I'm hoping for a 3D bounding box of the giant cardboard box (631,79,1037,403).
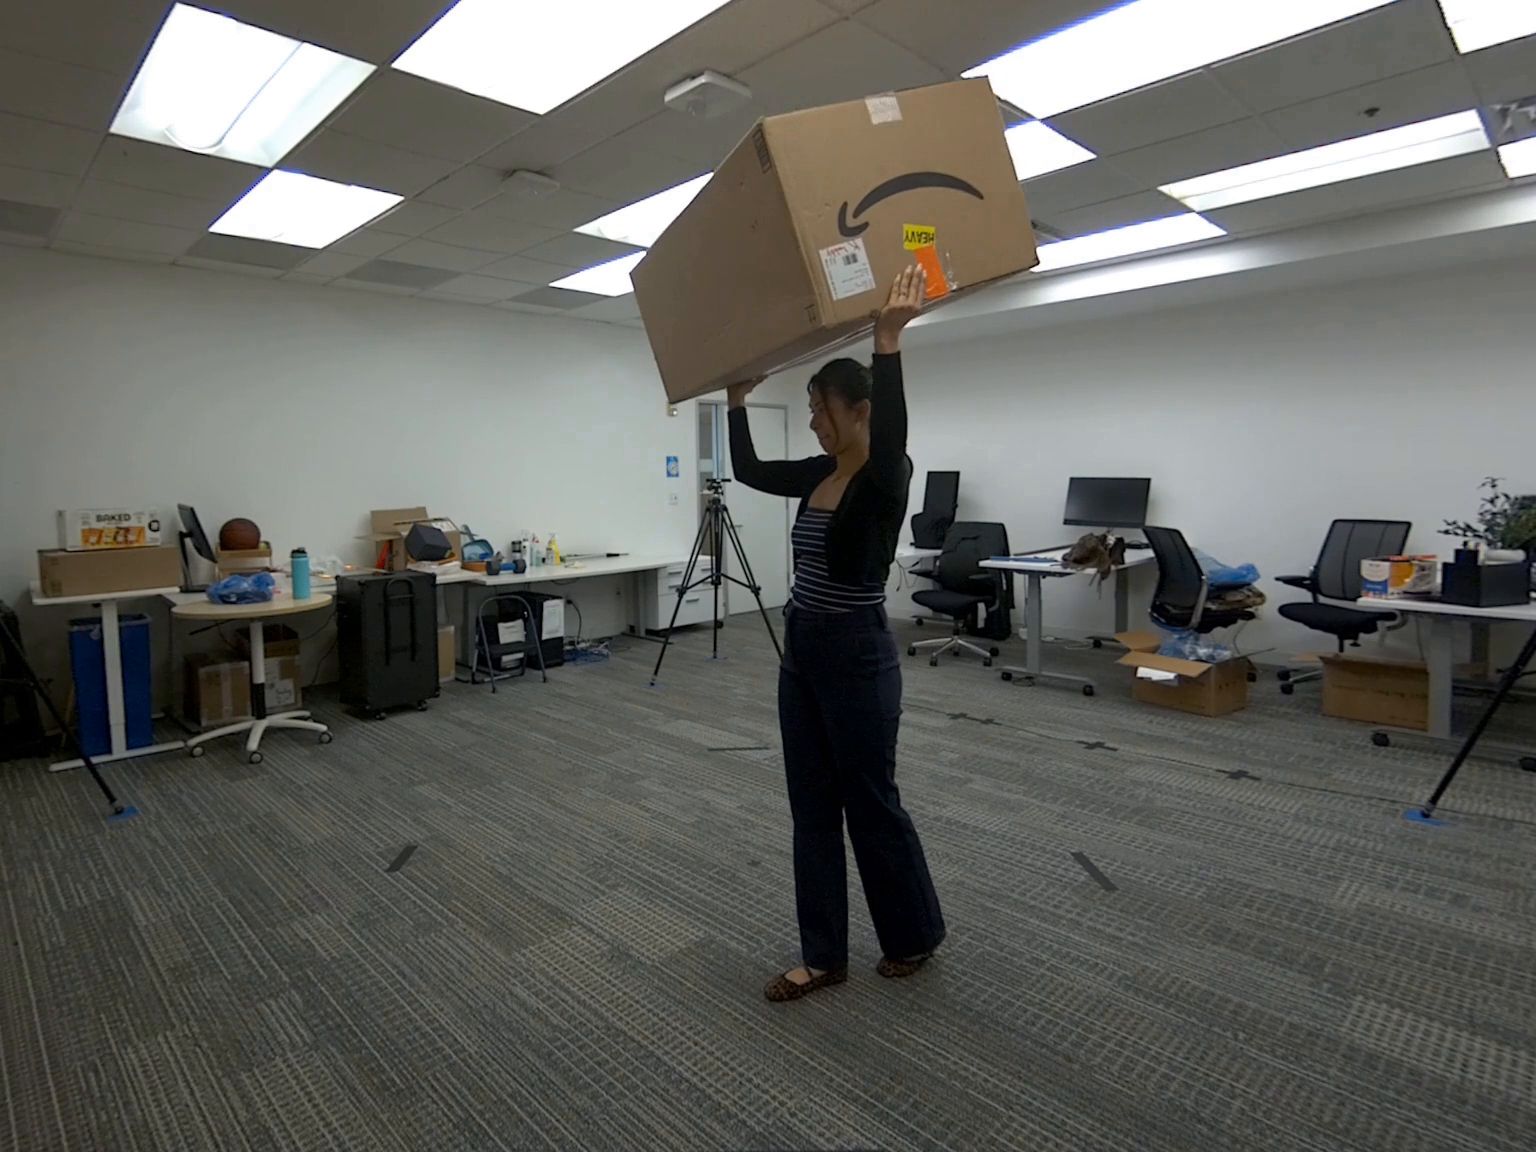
[{"bbox_3d":[0.097,-0.797,2.244,0.571,0.422,1.047,-21,10,-21],"label":"giant cardboard box"}]
